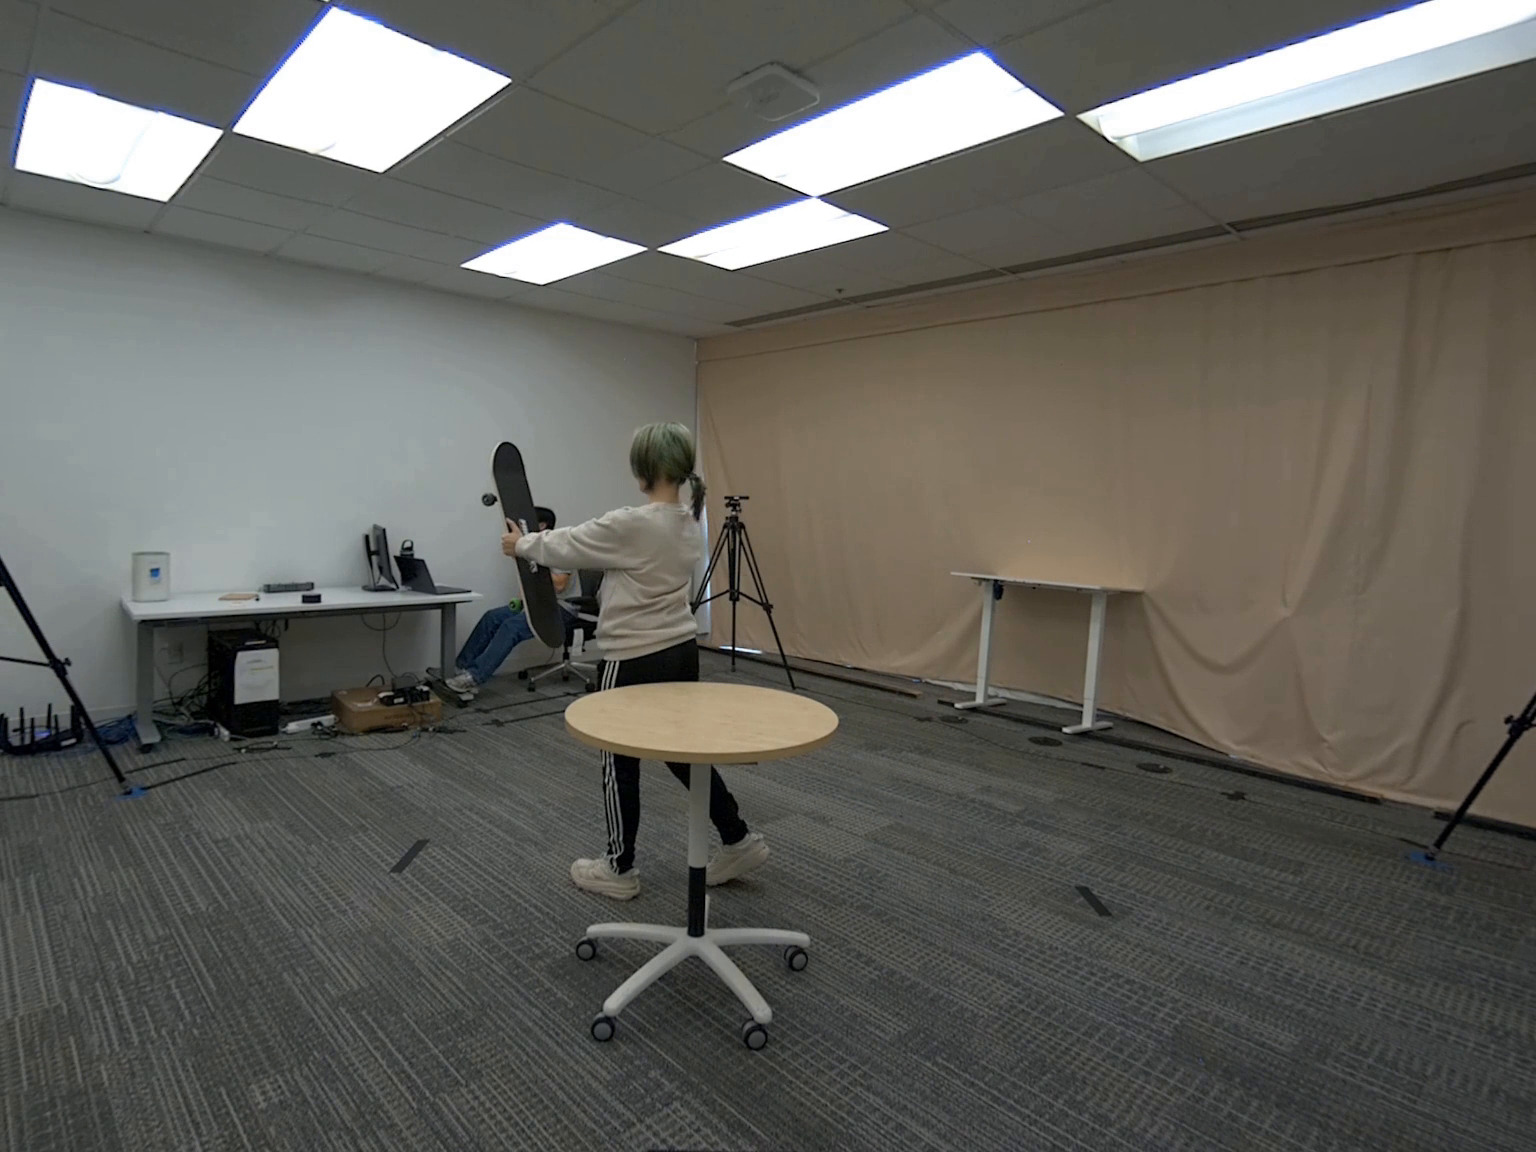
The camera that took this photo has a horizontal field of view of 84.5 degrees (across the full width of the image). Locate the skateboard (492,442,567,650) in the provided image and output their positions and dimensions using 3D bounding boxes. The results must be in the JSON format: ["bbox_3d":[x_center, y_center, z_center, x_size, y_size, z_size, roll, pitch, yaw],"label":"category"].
[{"bbox_3d":[-0.922,-0.105,3.137,0.112,0.784,0.191,-14,1,24],"label":"skateboard"}]
